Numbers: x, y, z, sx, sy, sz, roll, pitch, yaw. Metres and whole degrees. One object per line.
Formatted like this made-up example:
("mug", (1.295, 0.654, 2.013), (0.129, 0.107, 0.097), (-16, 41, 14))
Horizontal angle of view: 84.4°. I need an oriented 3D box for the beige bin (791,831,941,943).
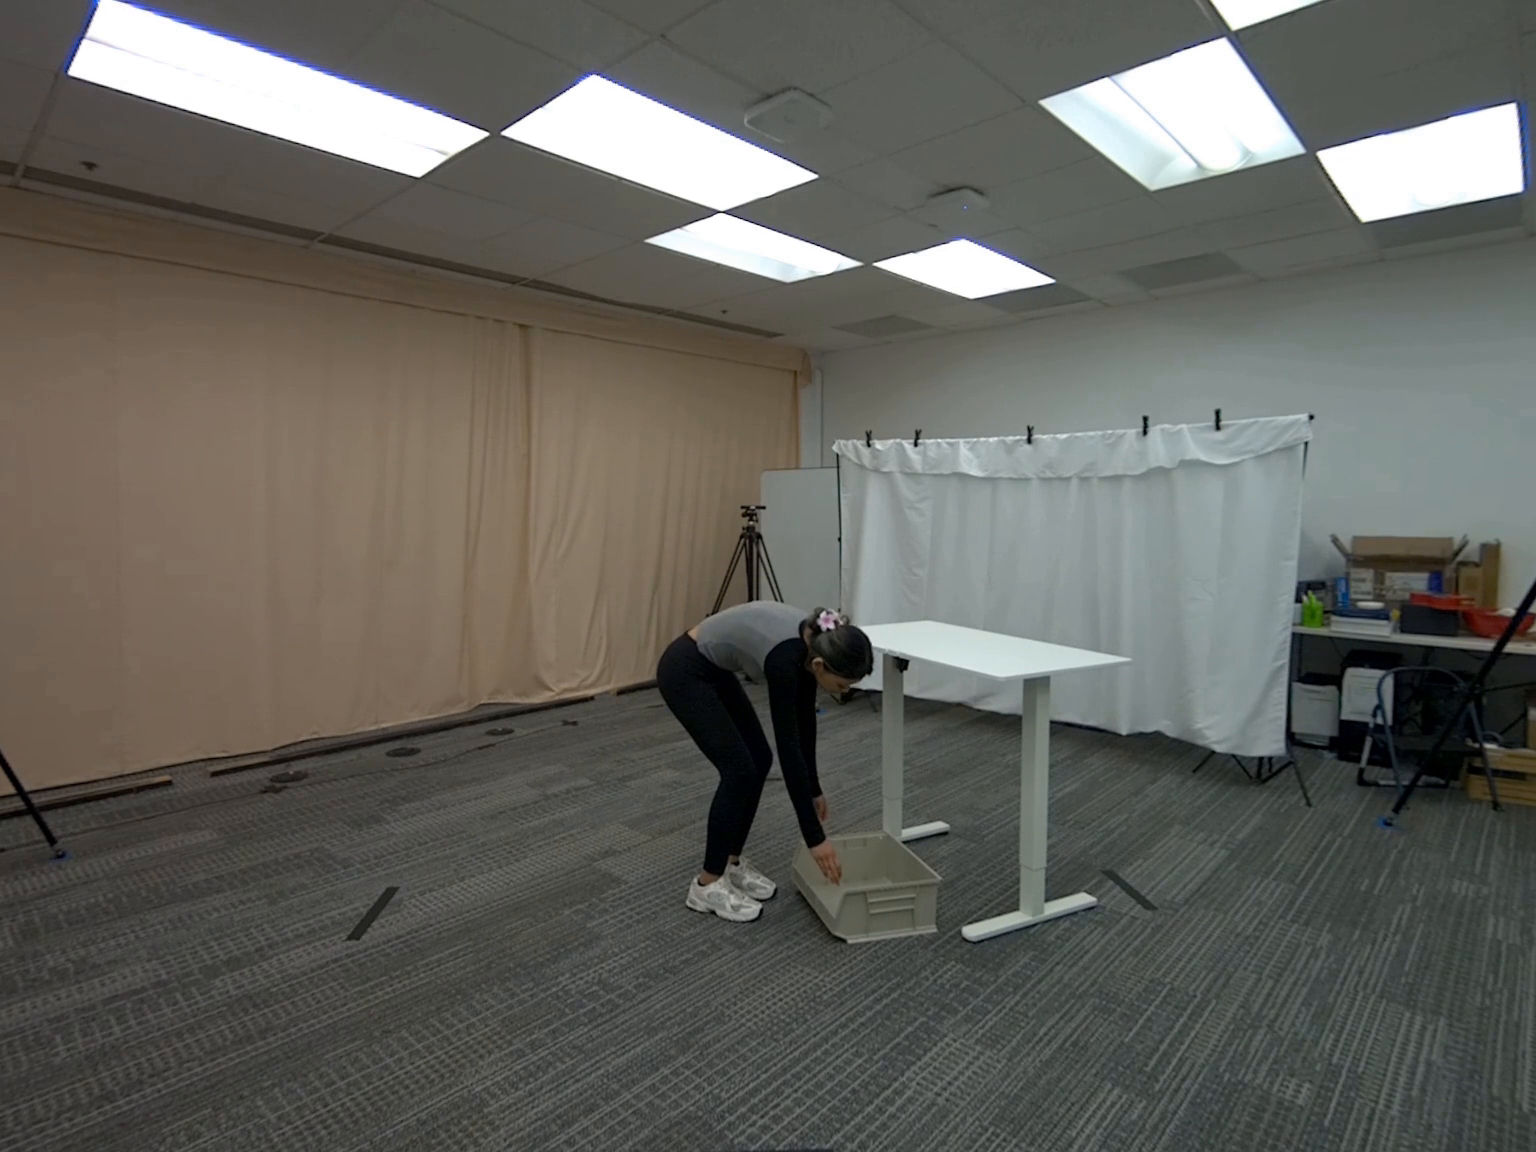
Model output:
("beige bin", (0.326, 1.057, 2.899), (0.371, 0.188, 0.430), (-1, 3, -16))
